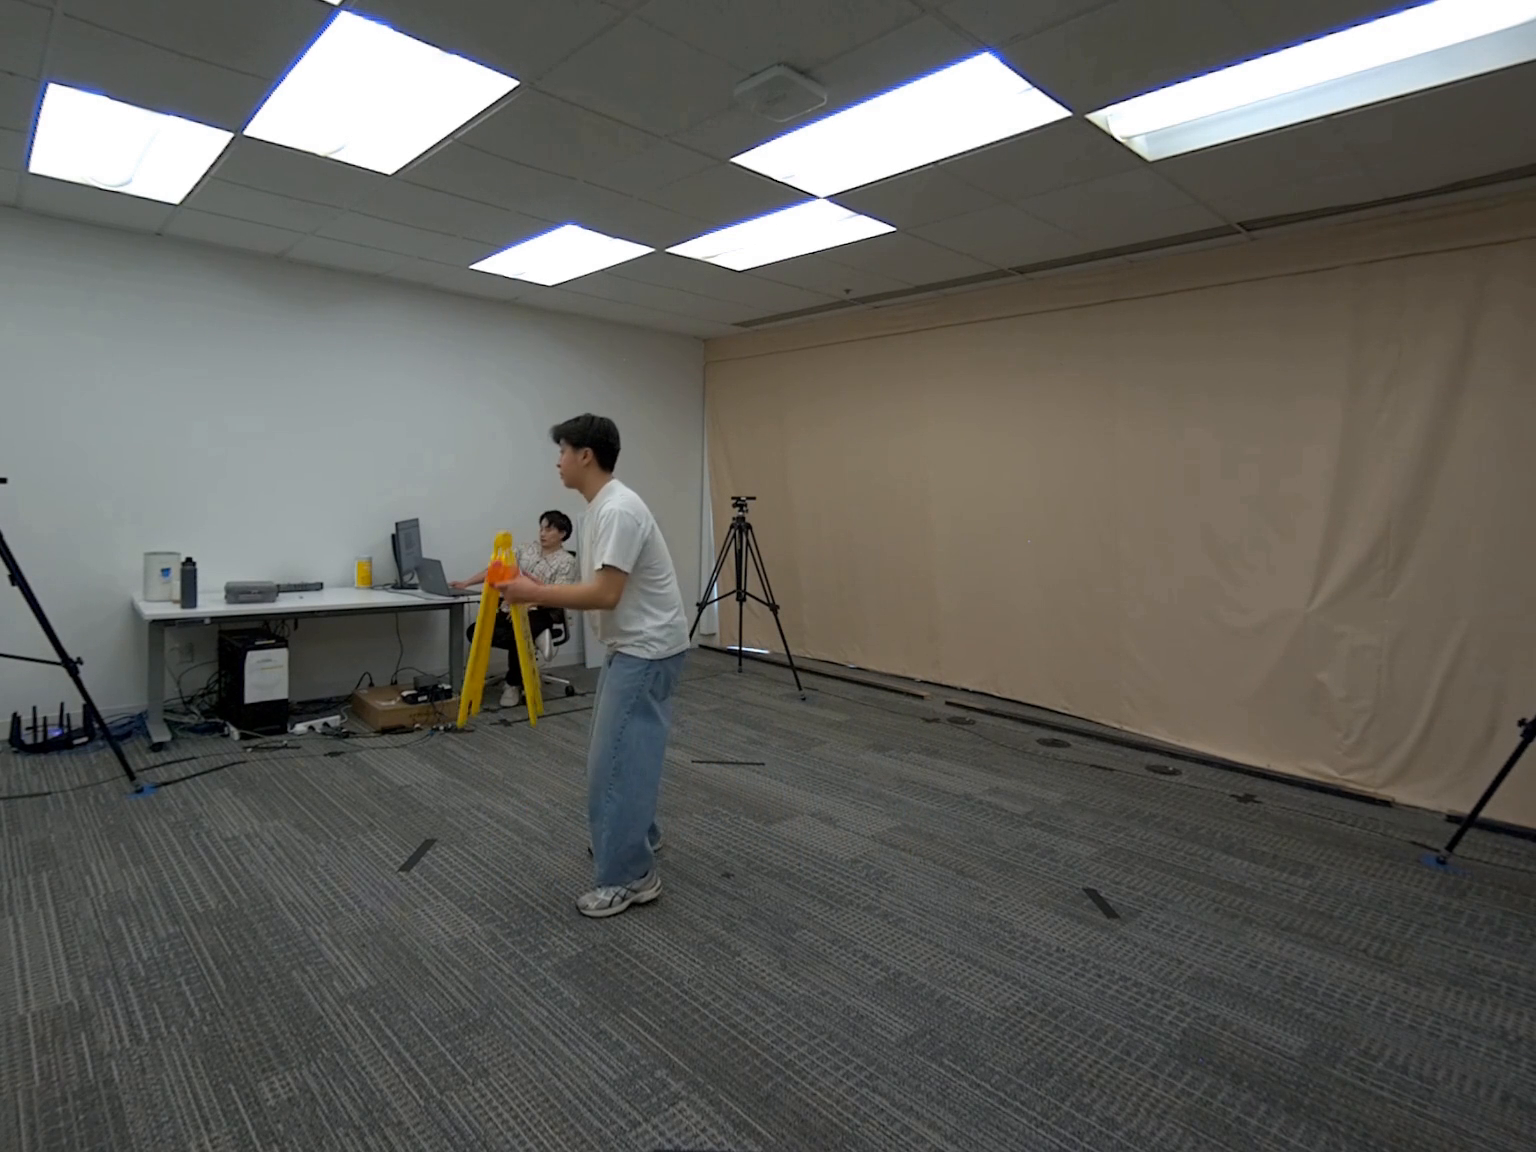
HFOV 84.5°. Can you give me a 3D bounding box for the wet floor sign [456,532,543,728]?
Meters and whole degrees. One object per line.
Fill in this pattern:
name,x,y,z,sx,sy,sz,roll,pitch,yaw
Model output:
wet floor sign,-0.909,0.185,2.933,0.288,0.646,0.283,1,-1,-7
